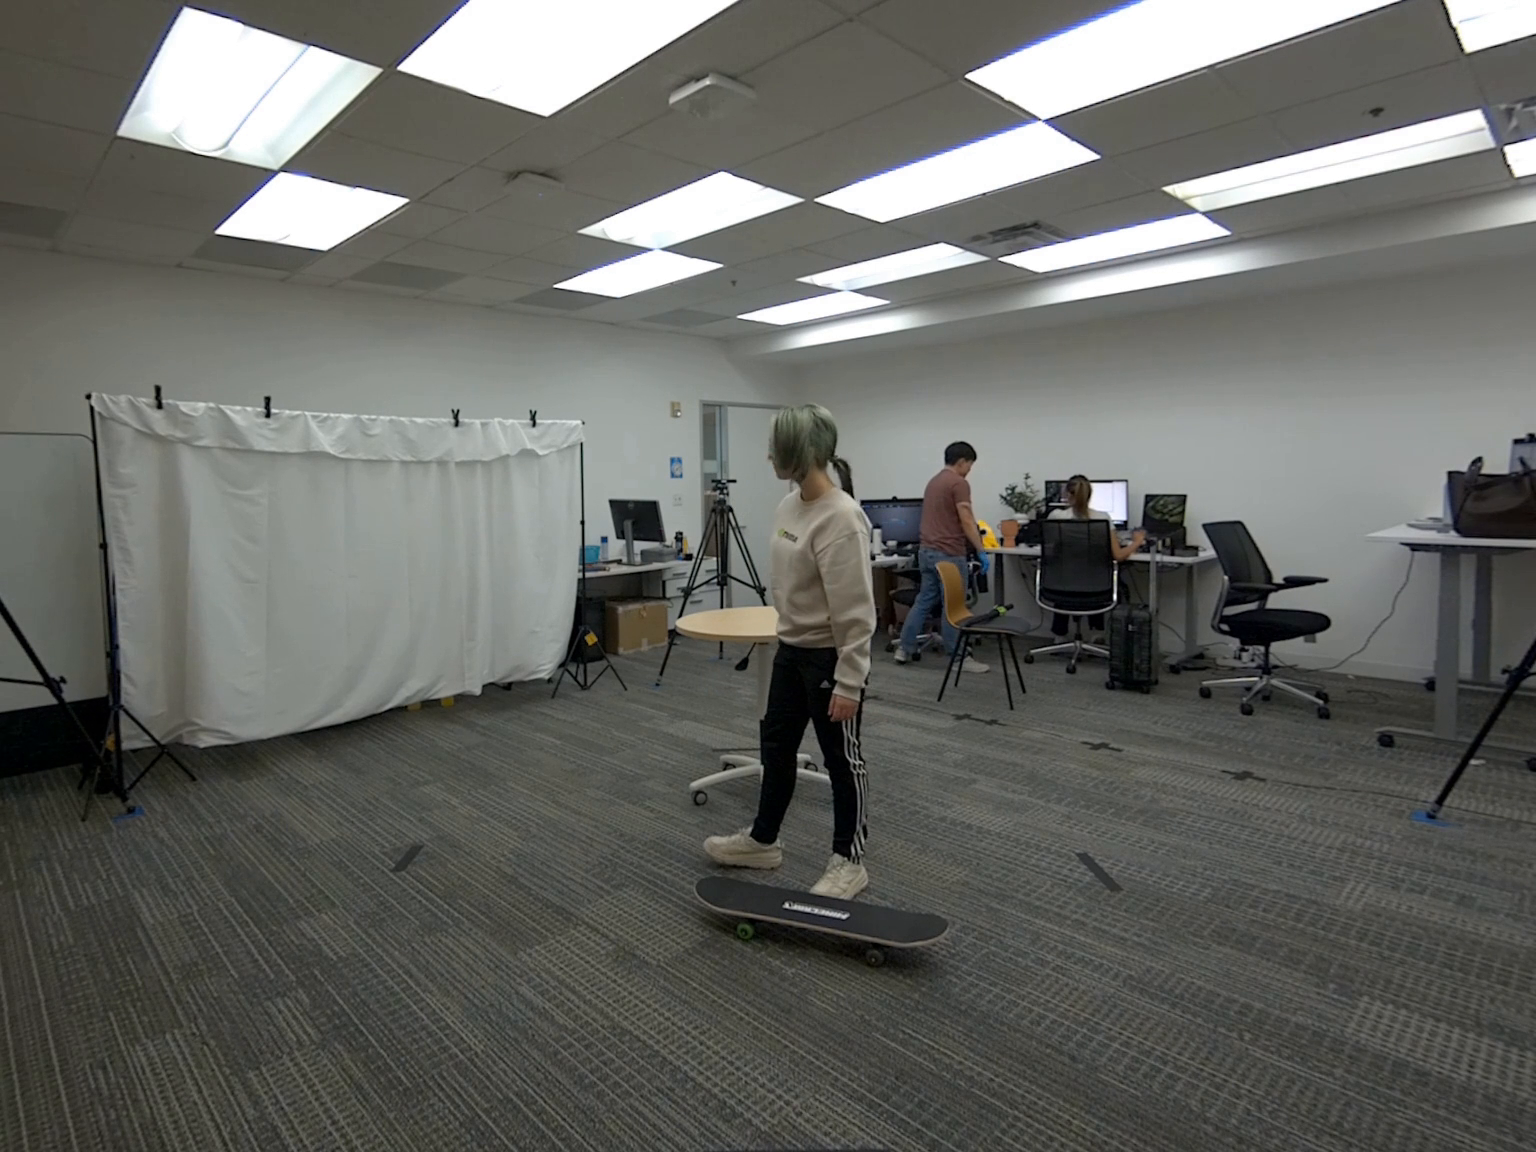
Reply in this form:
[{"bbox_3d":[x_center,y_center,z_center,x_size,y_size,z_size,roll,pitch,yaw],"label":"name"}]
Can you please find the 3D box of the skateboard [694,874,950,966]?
[{"bbox_3d":[0.154,1.042,2.593,0.802,0.110,0.190,2,6,23],"label":"skateboard"}]
